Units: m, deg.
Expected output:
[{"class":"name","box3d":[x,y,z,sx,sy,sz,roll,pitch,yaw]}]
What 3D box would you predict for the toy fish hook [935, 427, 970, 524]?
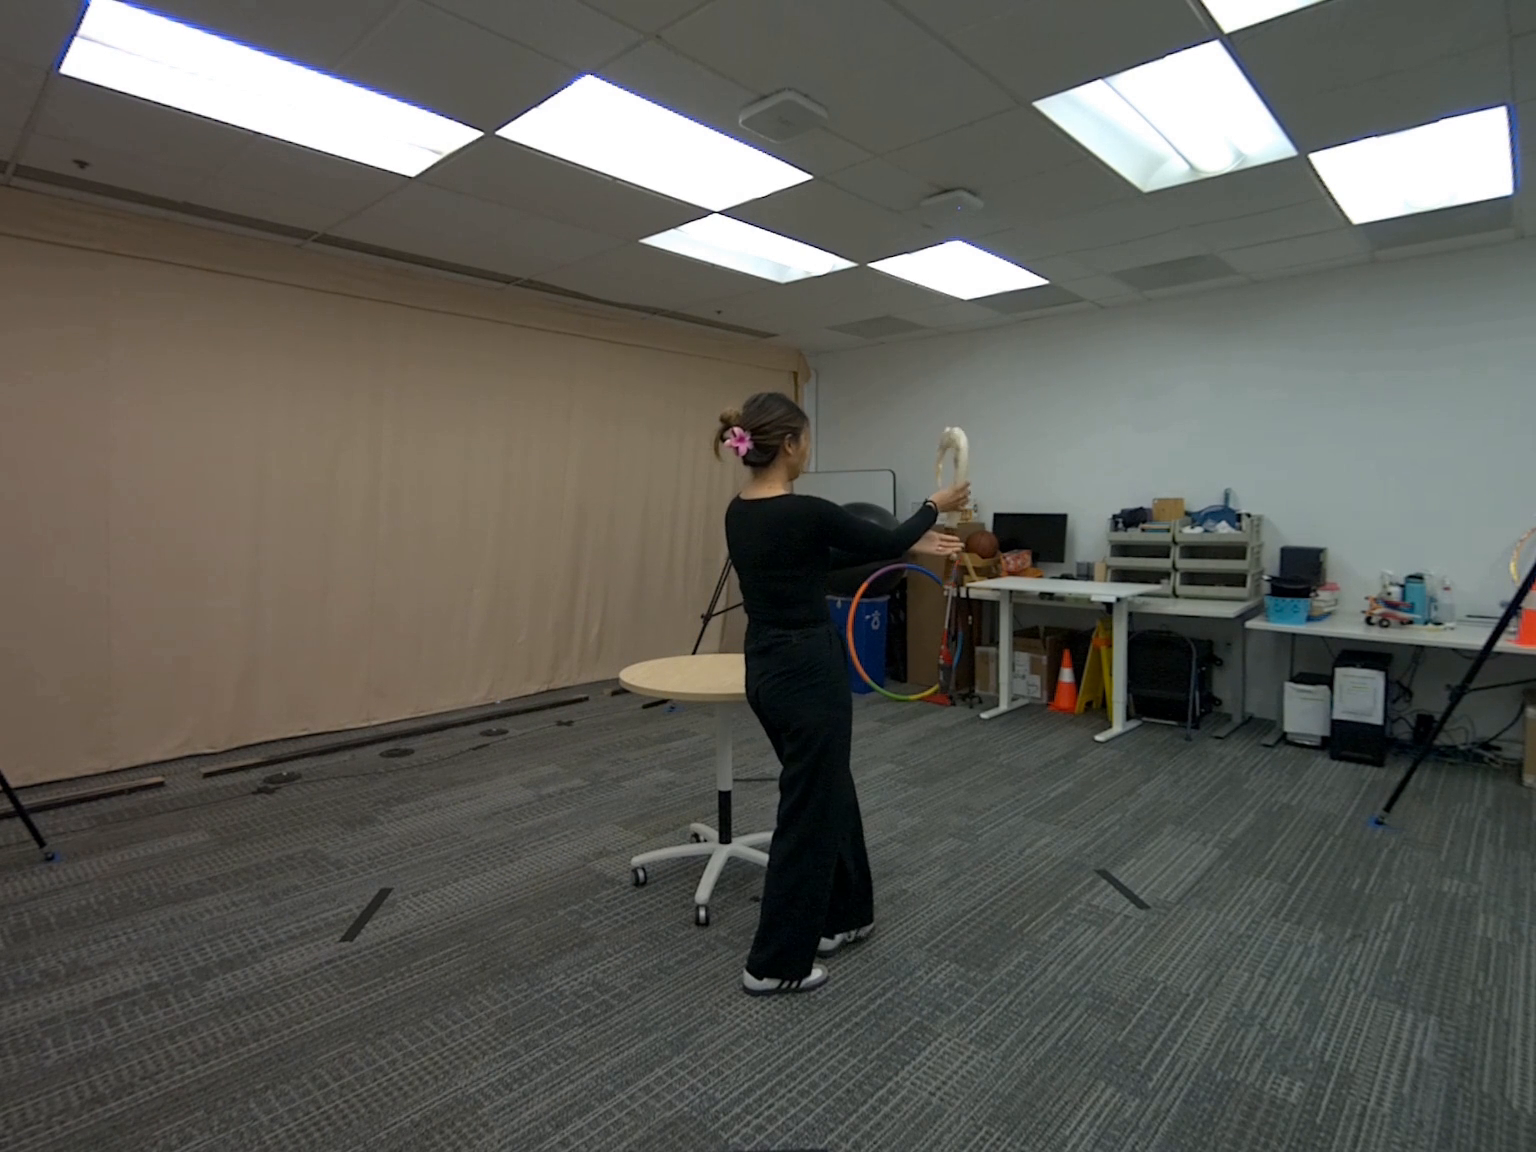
[{"class":"toy fish hook","box3d":[0.578,-0.206,2.653,0.048,0.504,0.227,2,8,-8]}]
